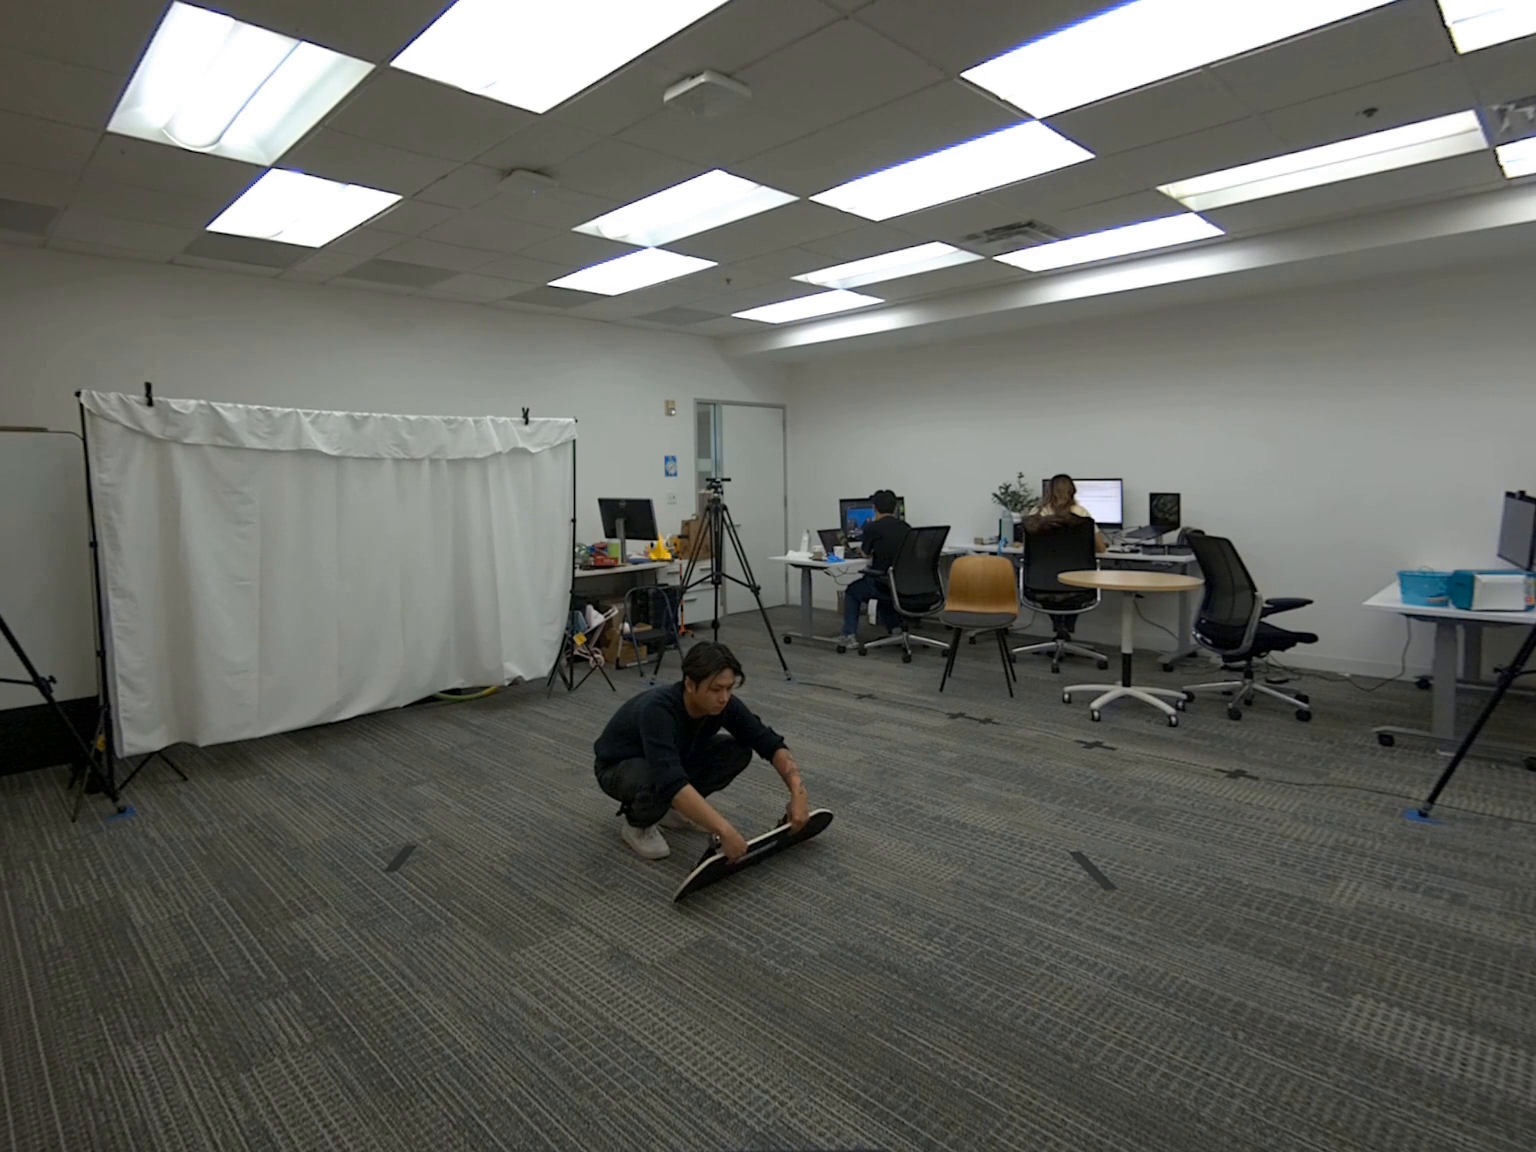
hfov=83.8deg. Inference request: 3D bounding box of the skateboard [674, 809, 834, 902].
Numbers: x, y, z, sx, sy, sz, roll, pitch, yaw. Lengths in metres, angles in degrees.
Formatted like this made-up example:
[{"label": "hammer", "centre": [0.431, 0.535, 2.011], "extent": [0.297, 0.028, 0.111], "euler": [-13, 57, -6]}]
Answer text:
[{"label": "skateboard", "centre": [-0.049, 0.949, 3.027], "extent": [0.764, 0.192, 0.114], "euler": [-6, 44, -45]}]
